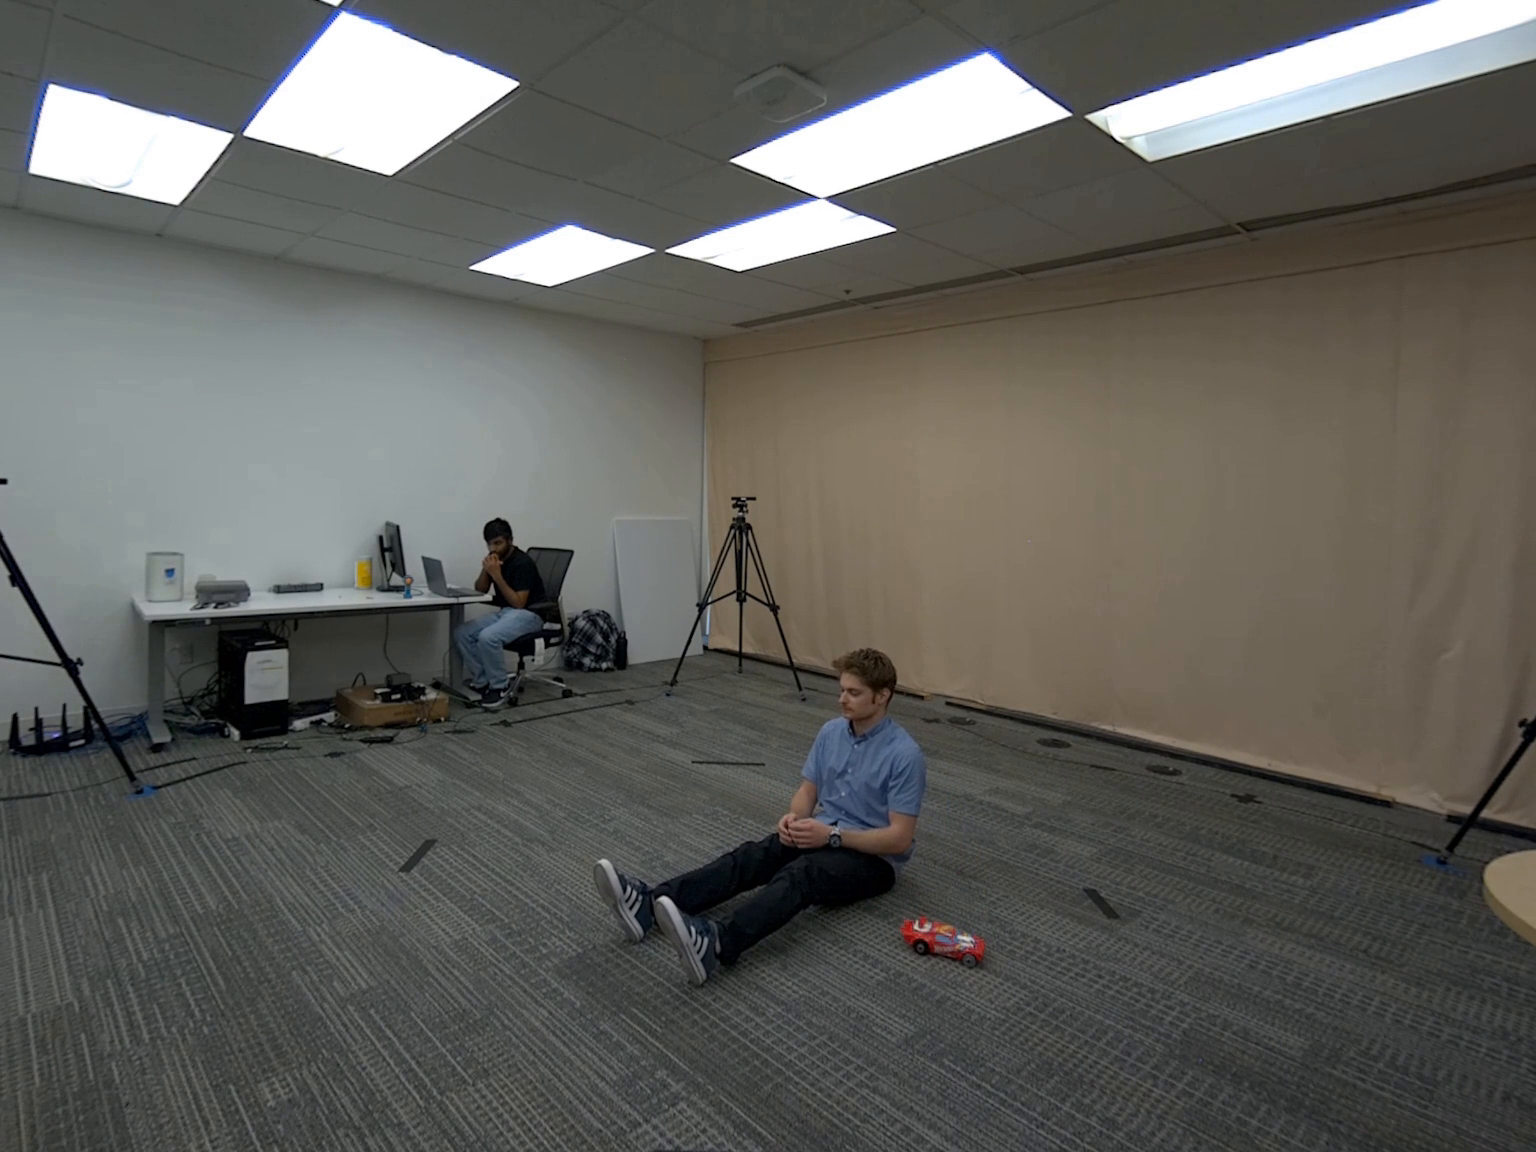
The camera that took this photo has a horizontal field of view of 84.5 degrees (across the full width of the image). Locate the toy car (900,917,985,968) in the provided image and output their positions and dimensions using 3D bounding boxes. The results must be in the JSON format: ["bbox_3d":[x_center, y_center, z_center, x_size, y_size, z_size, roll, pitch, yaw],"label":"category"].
[{"bbox_3d":[0.539,1.134,2.612,0.259,0.083,0.128,17,10,20],"label":"toy car"}]
